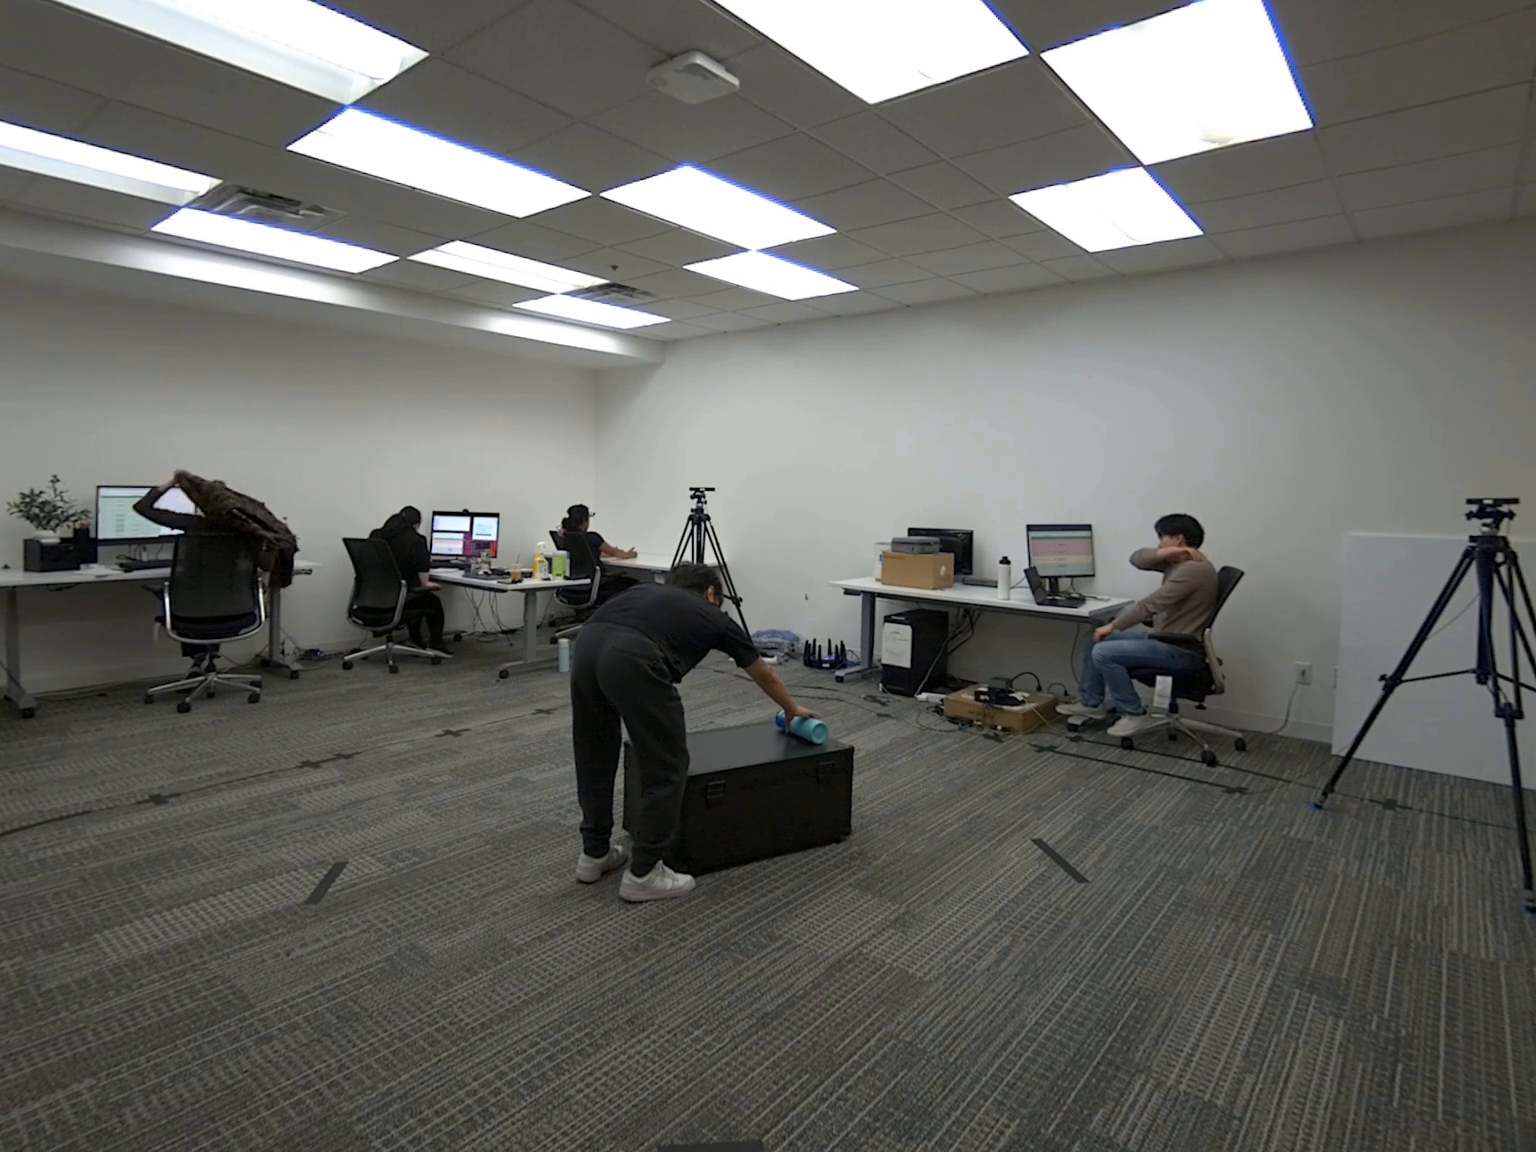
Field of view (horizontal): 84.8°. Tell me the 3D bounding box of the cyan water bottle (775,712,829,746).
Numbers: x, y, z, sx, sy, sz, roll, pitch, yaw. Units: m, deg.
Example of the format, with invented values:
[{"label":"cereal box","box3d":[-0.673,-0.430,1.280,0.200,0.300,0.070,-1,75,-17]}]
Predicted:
[{"label":"cyan water bottle","box3d":[0.115,0.608,3.524,0.090,0.092,0.292,-2,7,-31]}]
